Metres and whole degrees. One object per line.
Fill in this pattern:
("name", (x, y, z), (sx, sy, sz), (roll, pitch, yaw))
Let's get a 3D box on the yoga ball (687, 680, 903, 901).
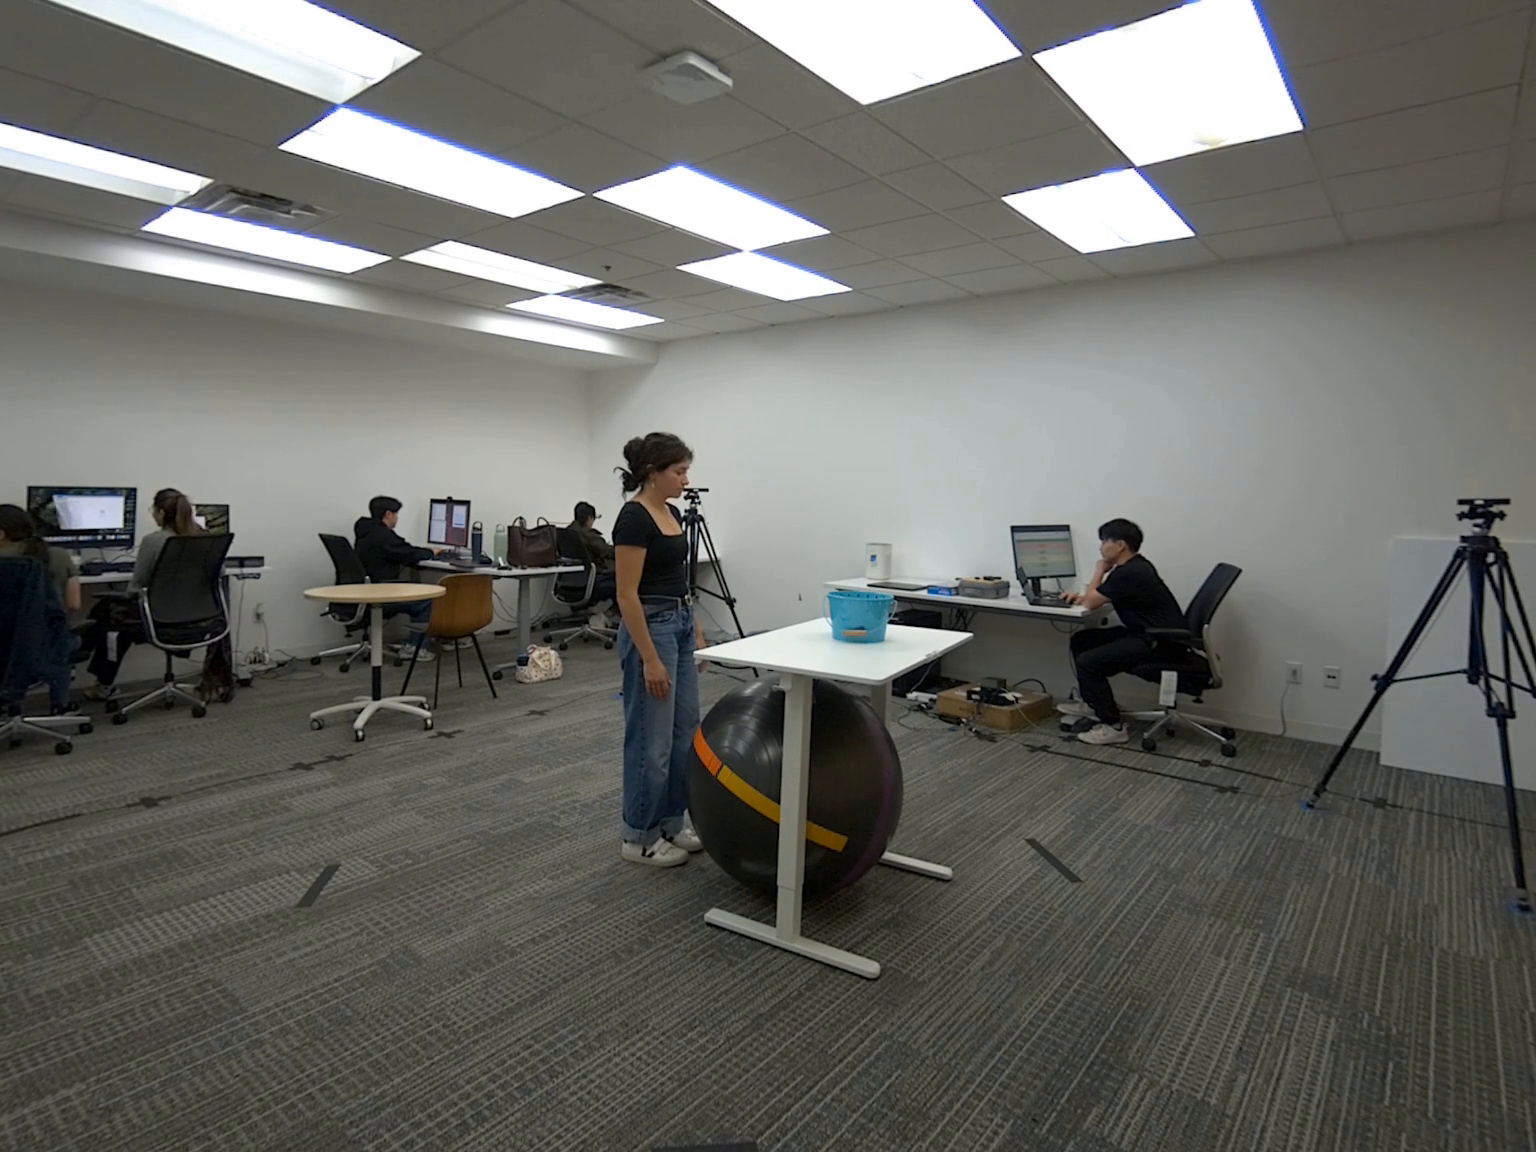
("yoga ball", (0.085, 0.727, 2.974), (0.757, 0.756, 0.762), (1, 4, -2))
